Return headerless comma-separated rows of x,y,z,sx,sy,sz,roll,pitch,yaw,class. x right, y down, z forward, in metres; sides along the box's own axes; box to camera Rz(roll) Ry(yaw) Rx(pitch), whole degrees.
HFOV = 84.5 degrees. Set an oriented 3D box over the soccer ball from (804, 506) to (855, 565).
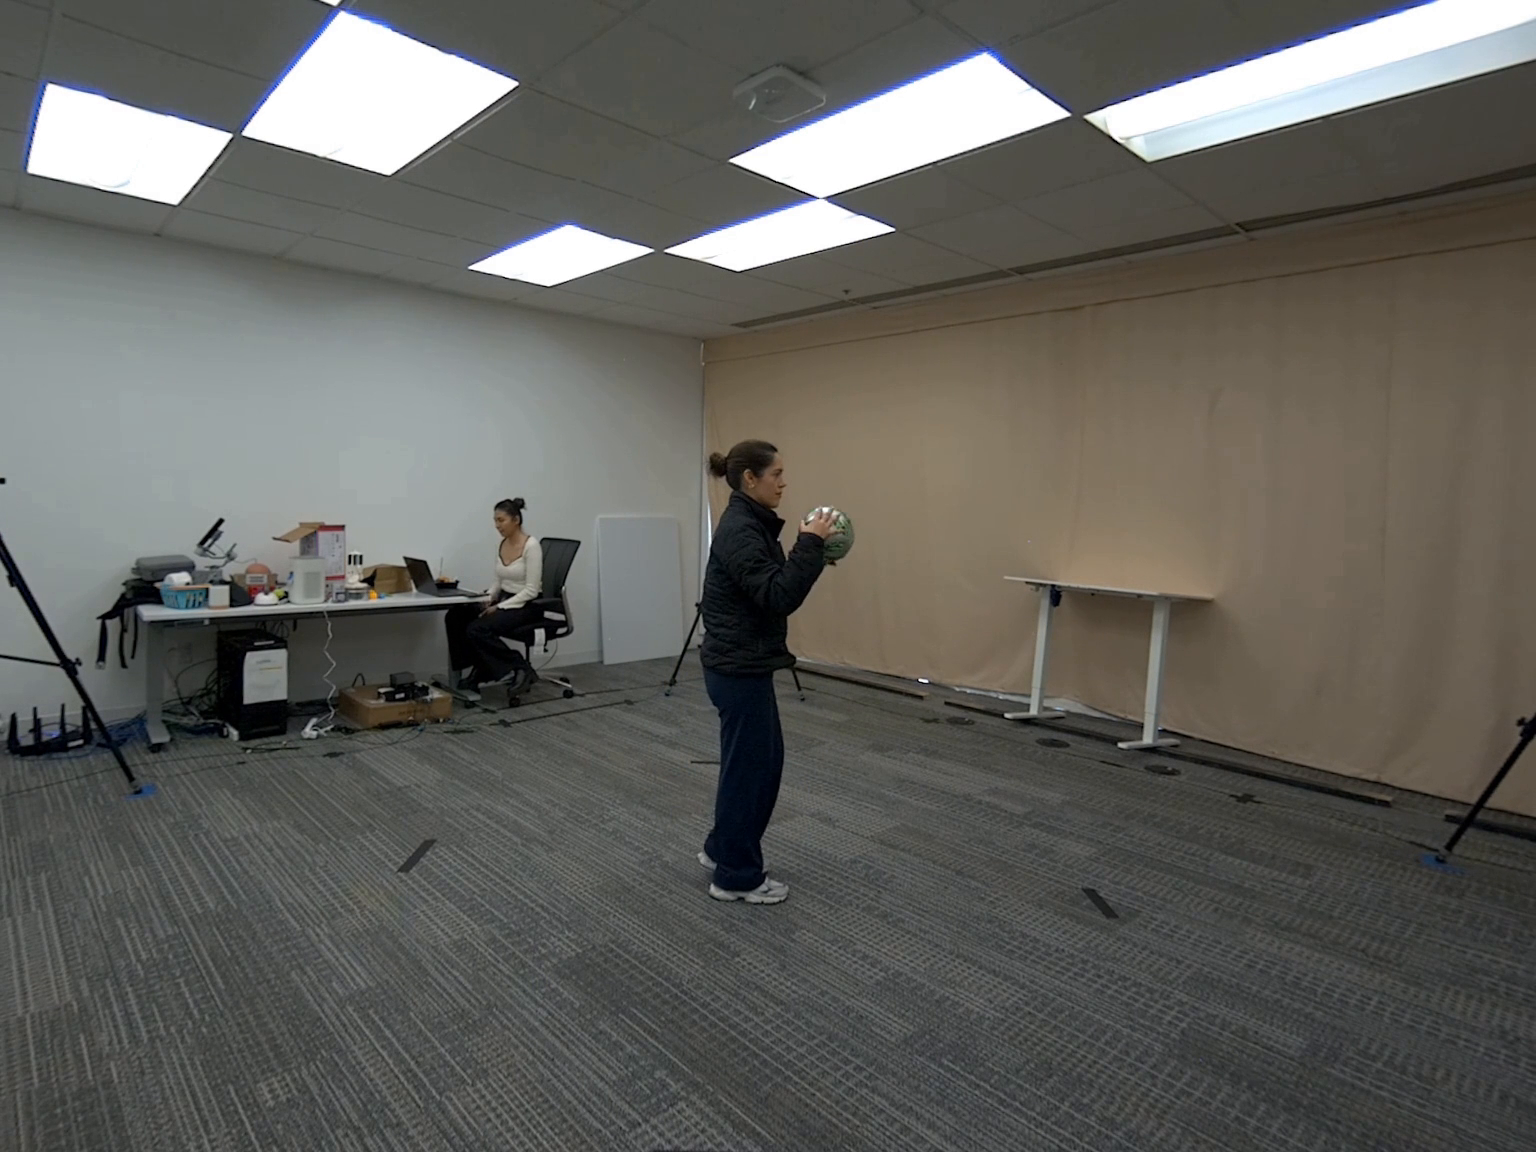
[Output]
0.191,-0.148,2.816,0.187,0.187,0.188,1,4,-1,soccer ball
